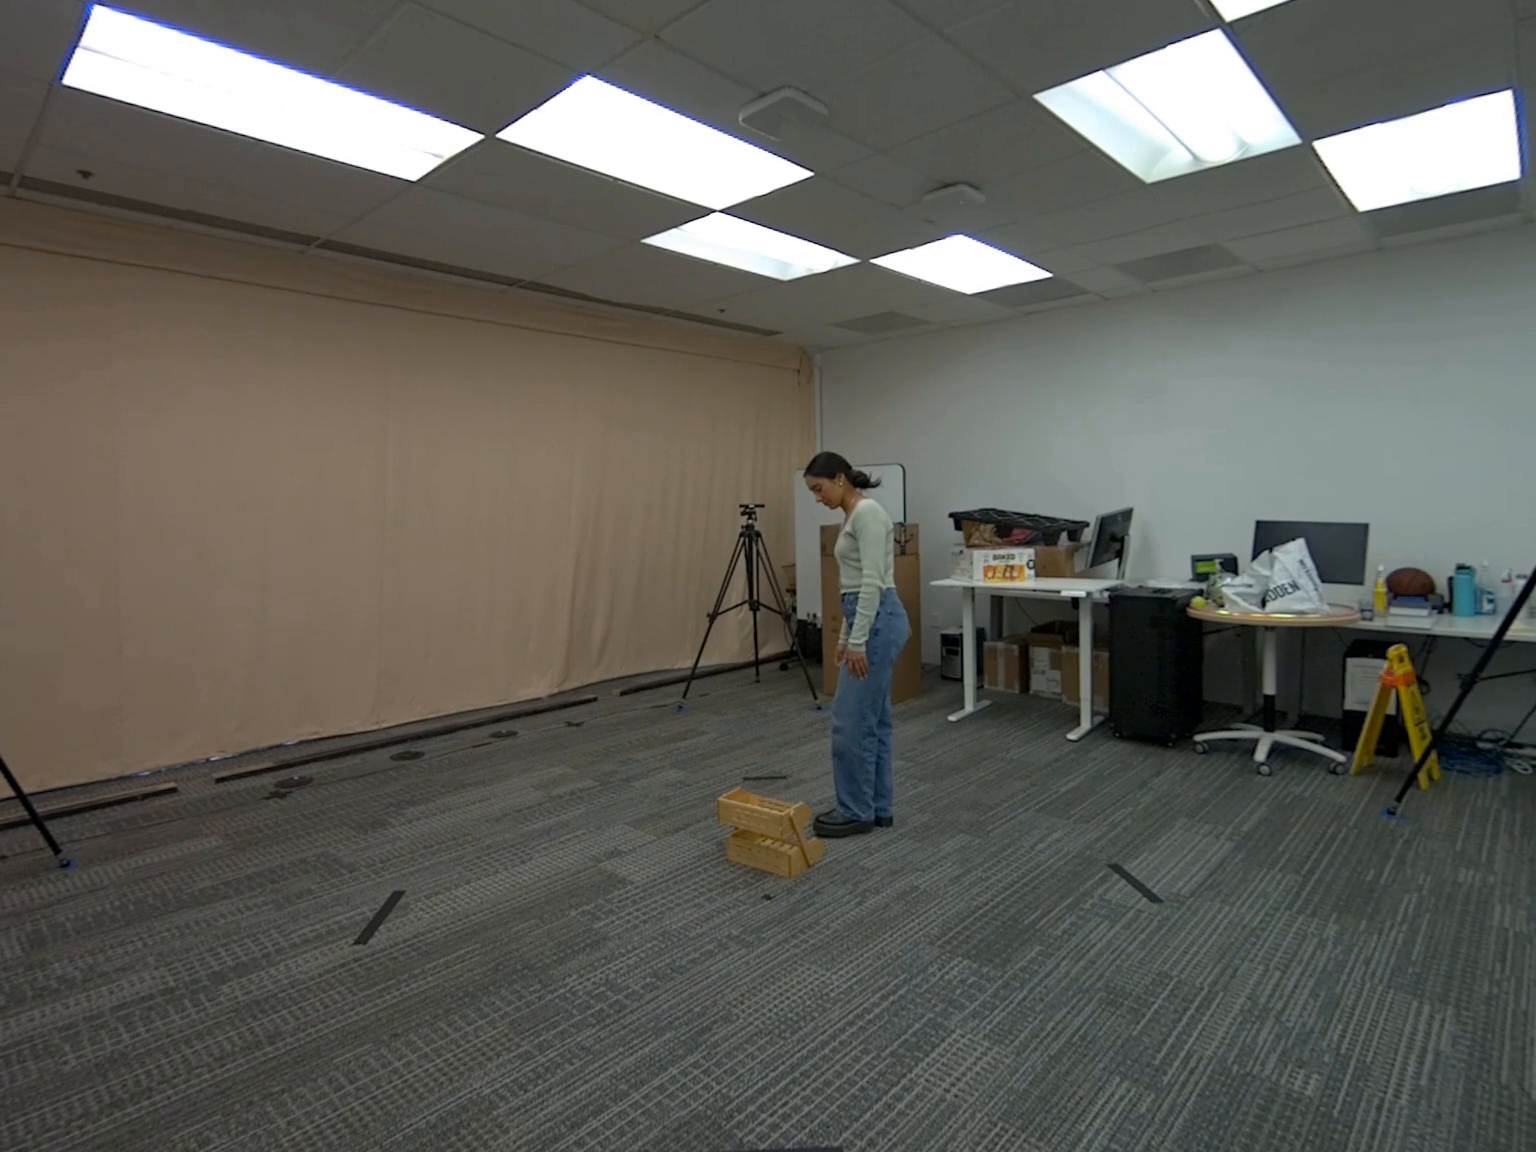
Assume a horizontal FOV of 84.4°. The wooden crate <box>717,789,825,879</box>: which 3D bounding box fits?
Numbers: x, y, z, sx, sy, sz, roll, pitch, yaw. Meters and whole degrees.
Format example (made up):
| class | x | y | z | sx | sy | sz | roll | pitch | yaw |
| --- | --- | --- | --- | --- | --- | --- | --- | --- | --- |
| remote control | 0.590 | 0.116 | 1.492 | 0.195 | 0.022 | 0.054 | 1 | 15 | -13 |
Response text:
| class | x | y | z | sx | sy | sz | roll | pitch | yaw |
| --- | --- | --- | --- | --- | --- | --- | --- | --- | --- |
| wooden crate | 0.017 | 0.978 | 3.287 | 0.335 | 0.272 | 0.293 | 2 | 6 | 35 |
